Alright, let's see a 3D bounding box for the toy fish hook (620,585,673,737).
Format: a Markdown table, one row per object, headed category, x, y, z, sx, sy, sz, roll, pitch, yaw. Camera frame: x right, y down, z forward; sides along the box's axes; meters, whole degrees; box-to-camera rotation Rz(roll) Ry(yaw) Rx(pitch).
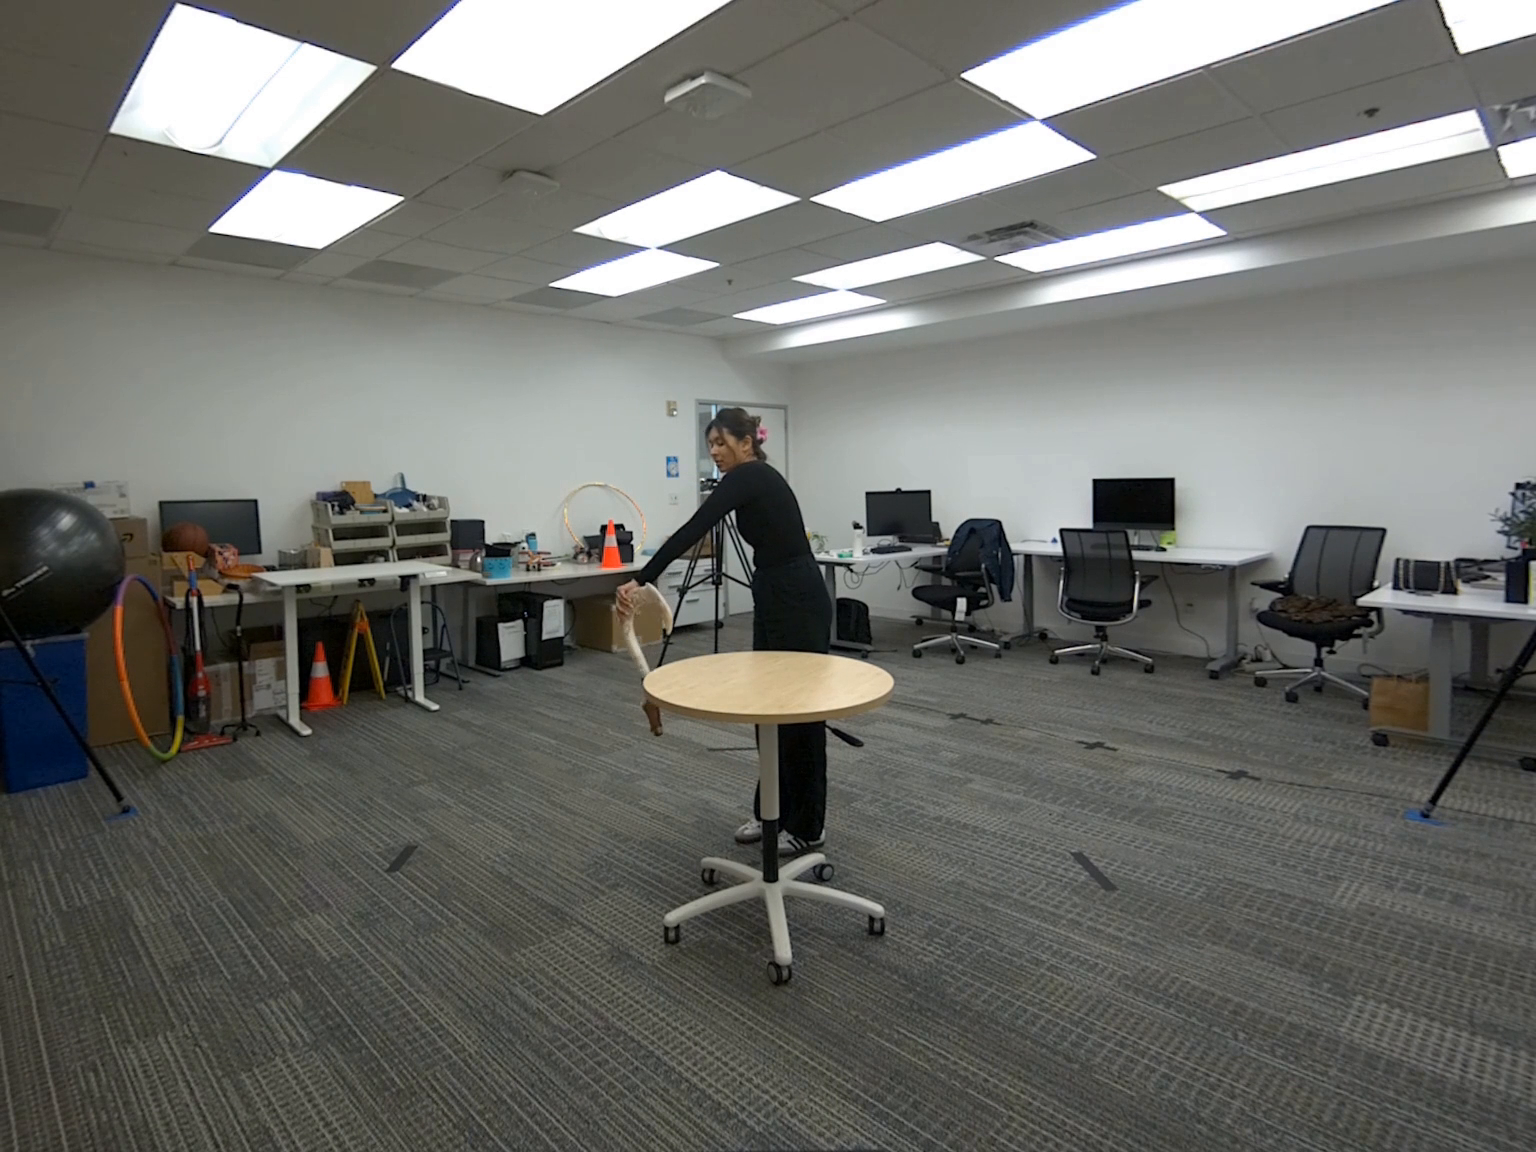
| category | x | y | z | sx | sy | sz | roll | pitch | yaw |
| --- | --- | --- | --- | --- | --- | --- | --- | --- | --- |
| toy fish hook | -0.385 | 0.274 | 2.892 | 0.228 | 0.515 | 0.047 | -24 | -18 | 33 |
